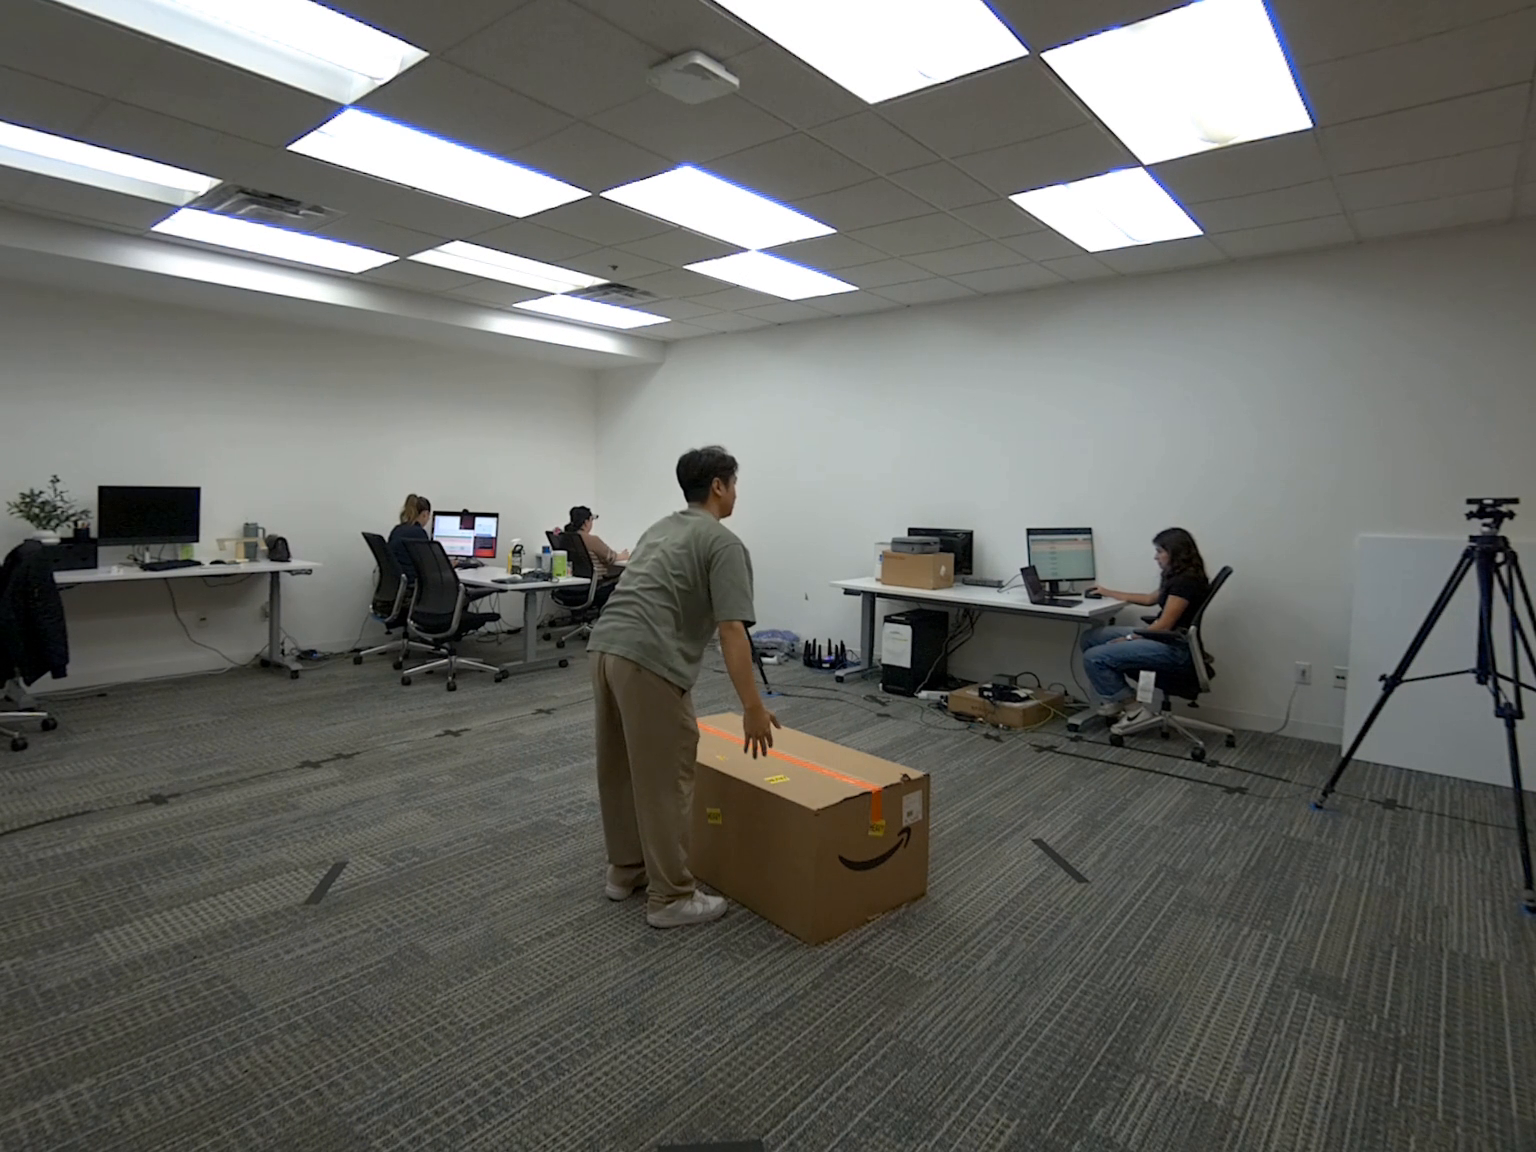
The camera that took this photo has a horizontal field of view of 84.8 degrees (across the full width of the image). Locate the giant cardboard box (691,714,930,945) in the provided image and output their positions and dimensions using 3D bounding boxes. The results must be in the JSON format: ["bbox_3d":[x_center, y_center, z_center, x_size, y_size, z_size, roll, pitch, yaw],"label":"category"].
[{"bbox_3d":[-0.004,0.851,3.146,0.560,0.424,1.061,-3,7,-41],"label":"giant cardboard box"}]
